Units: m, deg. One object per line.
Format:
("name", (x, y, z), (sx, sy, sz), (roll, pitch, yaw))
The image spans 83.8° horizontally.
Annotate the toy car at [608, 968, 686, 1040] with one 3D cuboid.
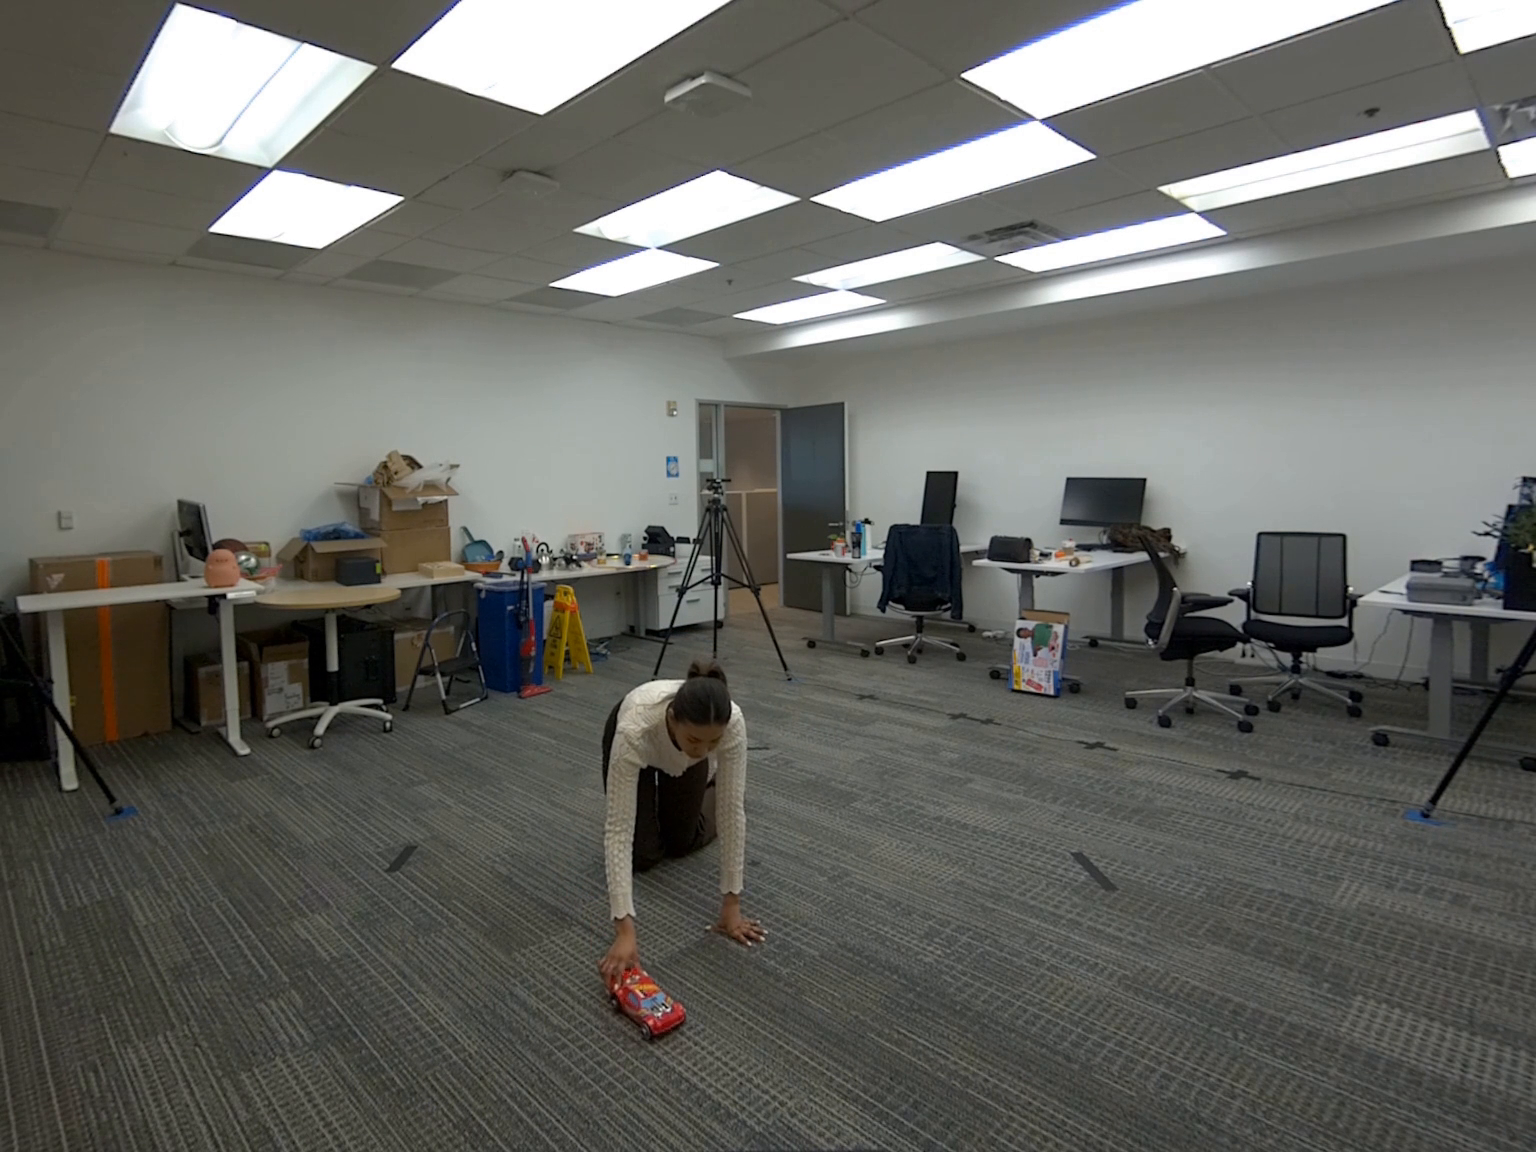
("toy car", (-0.327, 1.125, 2.246), (0.127, 0.082, 0.264), (-8, 19, -38))
